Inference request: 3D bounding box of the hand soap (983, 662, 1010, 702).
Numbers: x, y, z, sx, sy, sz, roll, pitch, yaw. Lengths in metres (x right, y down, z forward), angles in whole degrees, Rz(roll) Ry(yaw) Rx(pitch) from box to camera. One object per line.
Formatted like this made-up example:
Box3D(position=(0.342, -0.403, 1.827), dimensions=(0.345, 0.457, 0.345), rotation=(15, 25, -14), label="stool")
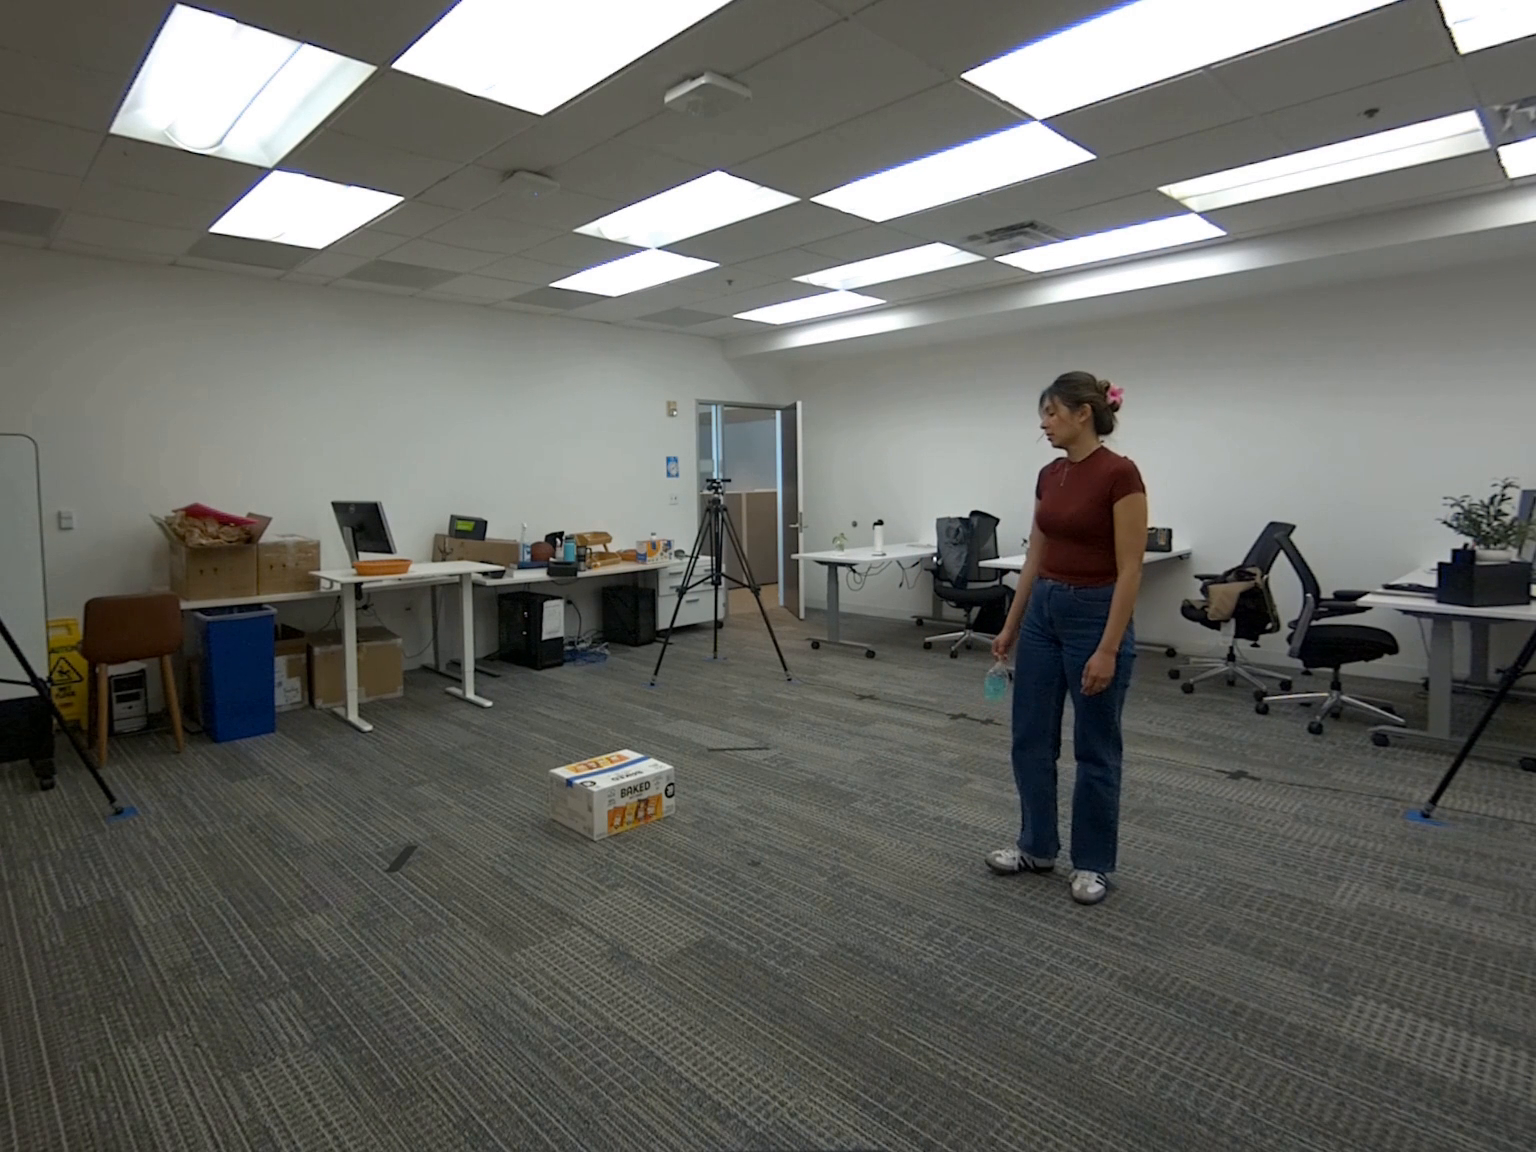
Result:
Box3D(position=(0.832, 0.360, 3.067), dimensions=(0.084, 0.168, 0.043), rotation=(10, 1, -2), label="hand soap")
